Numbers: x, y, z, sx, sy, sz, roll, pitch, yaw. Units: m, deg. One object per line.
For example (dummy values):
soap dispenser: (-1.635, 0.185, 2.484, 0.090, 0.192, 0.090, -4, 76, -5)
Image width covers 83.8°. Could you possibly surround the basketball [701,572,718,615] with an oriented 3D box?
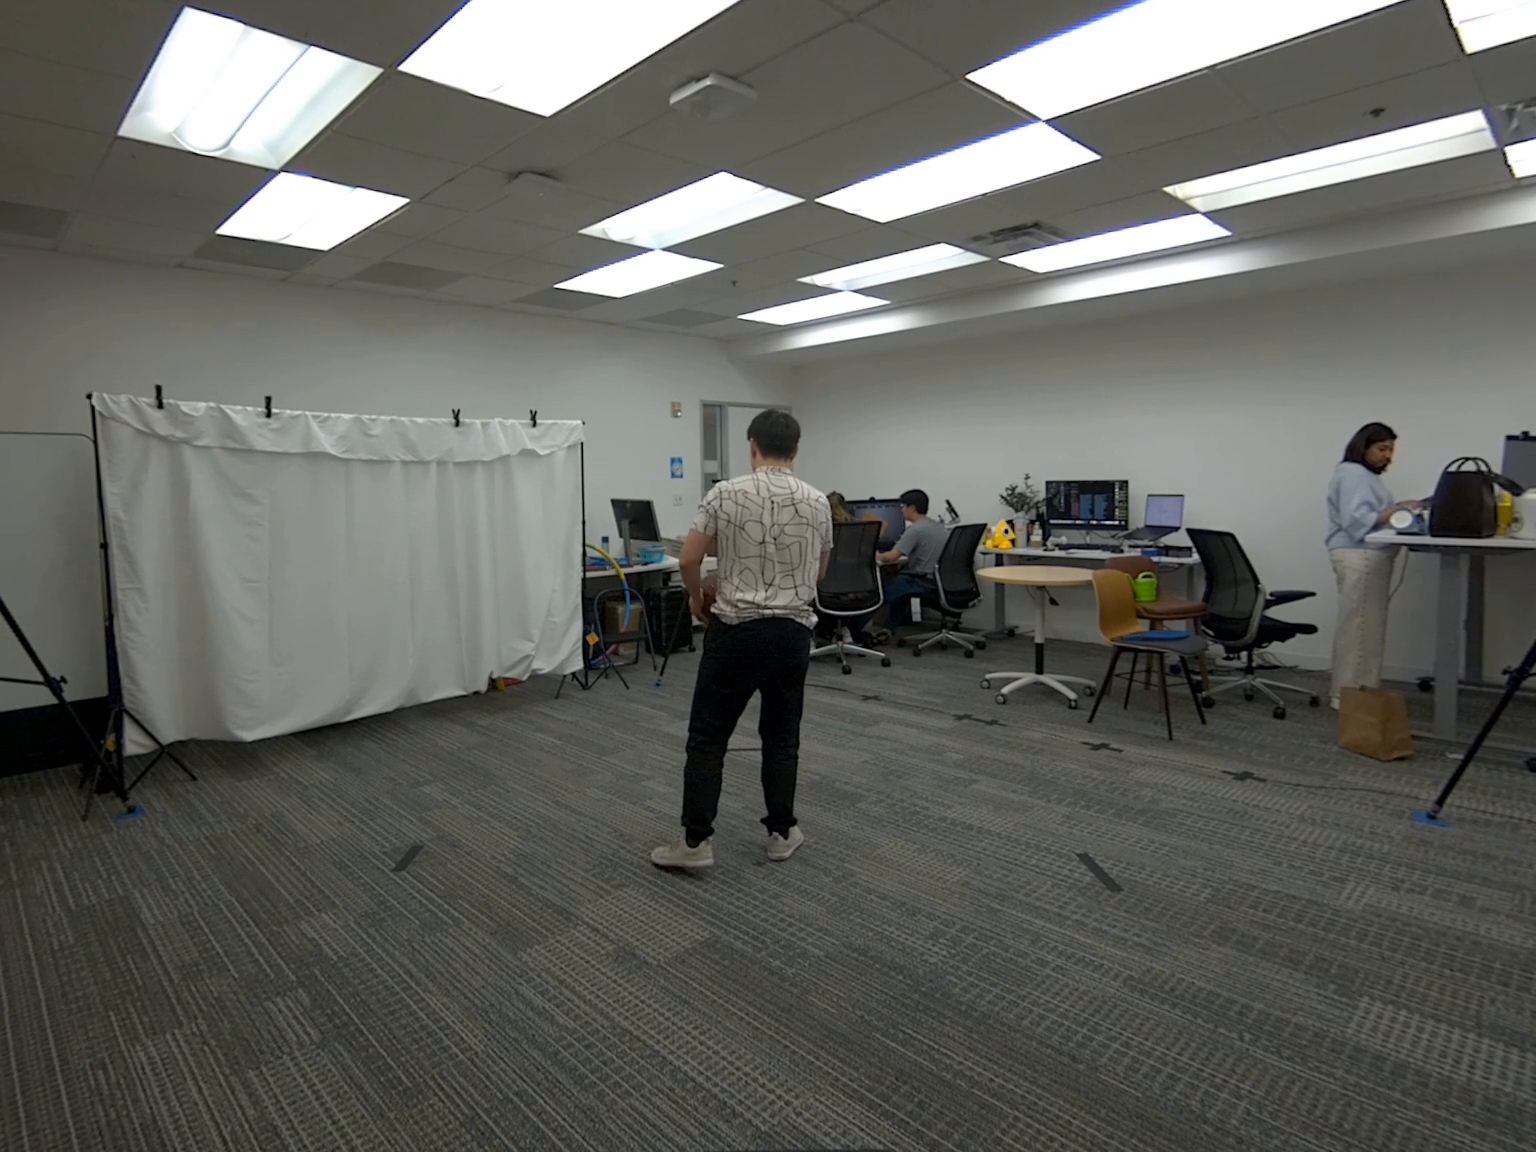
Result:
basketball: (-0.170, 0.081, 3.407, 0.236, 0.235, 0.237, -1, 5, -2)
